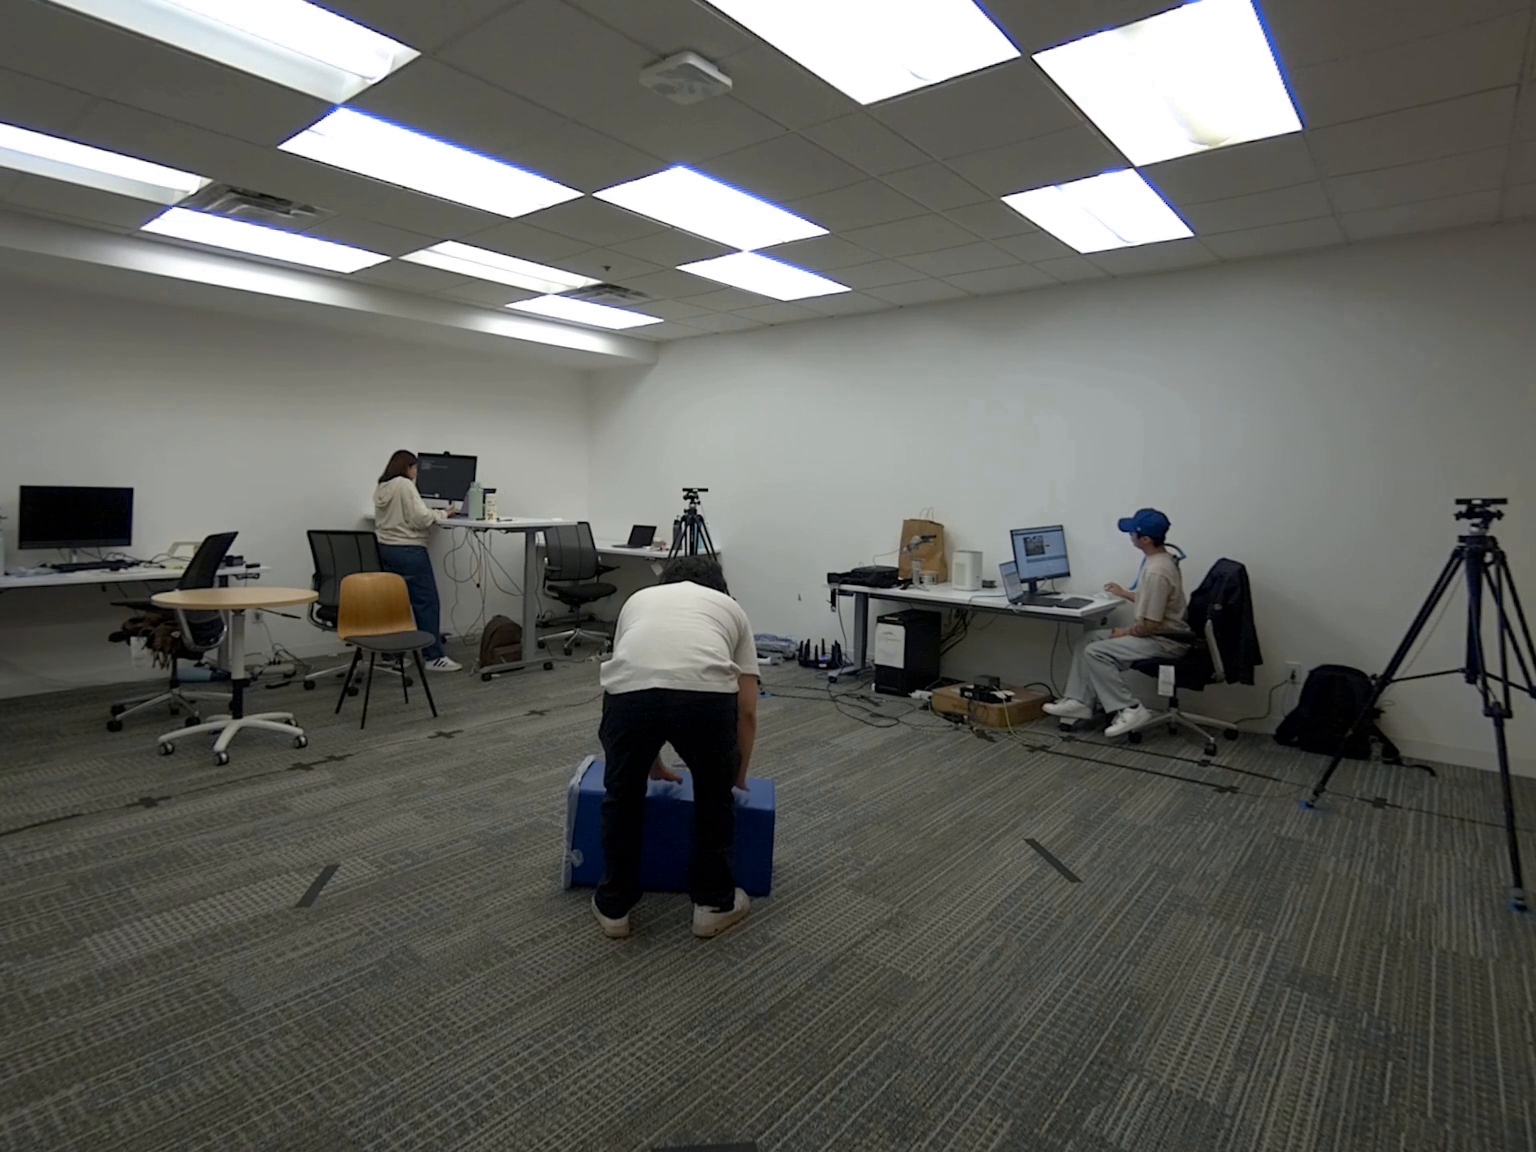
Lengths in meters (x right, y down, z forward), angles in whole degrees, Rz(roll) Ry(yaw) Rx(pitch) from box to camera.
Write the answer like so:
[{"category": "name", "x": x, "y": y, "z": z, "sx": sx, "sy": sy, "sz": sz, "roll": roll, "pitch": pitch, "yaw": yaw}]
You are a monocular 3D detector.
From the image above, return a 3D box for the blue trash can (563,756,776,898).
[{"category": "blue trash can", "x": -0.353, "y": 0.903, "z": 3.067, "sx": 0.715, "sy": 0.377, "sz": 0.374, "roll": 4, "pitch": 3, "yaw": 2}]
